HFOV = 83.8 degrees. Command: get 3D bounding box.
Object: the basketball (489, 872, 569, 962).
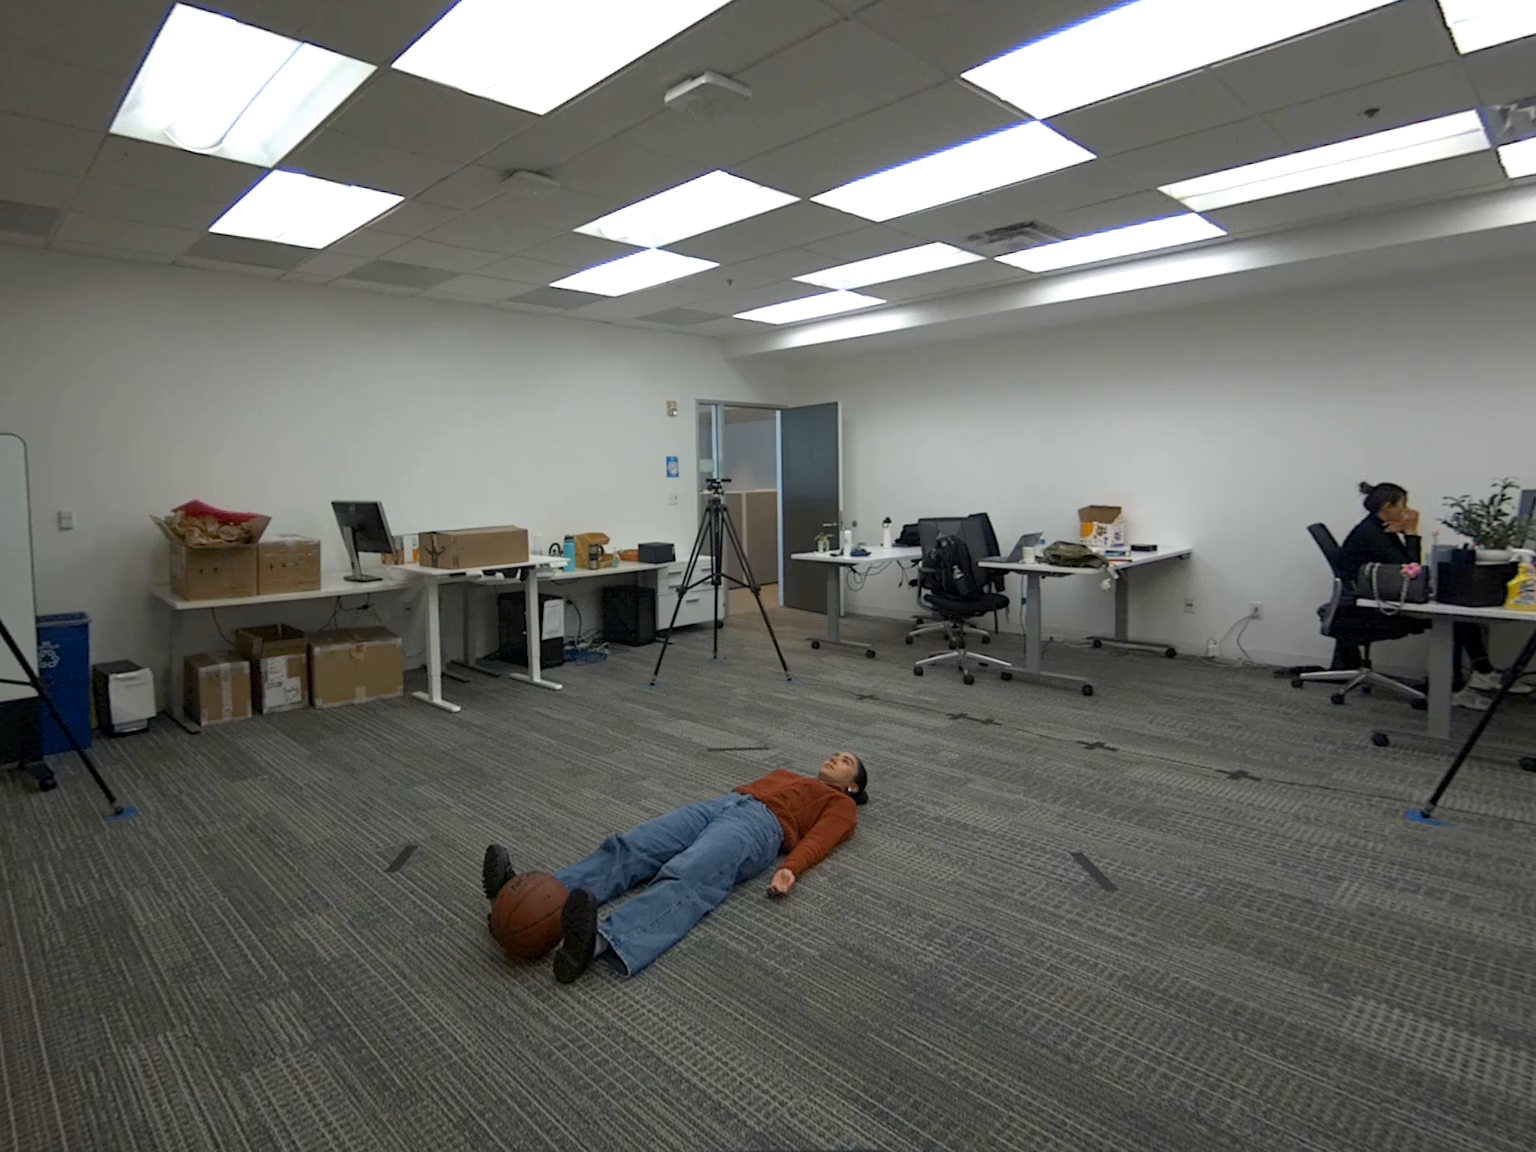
[{"bbox_3d":[-0.697,1.008,2.535,0.236,0.235,0.237,-1,5,-2],"label":"basketball"}]
